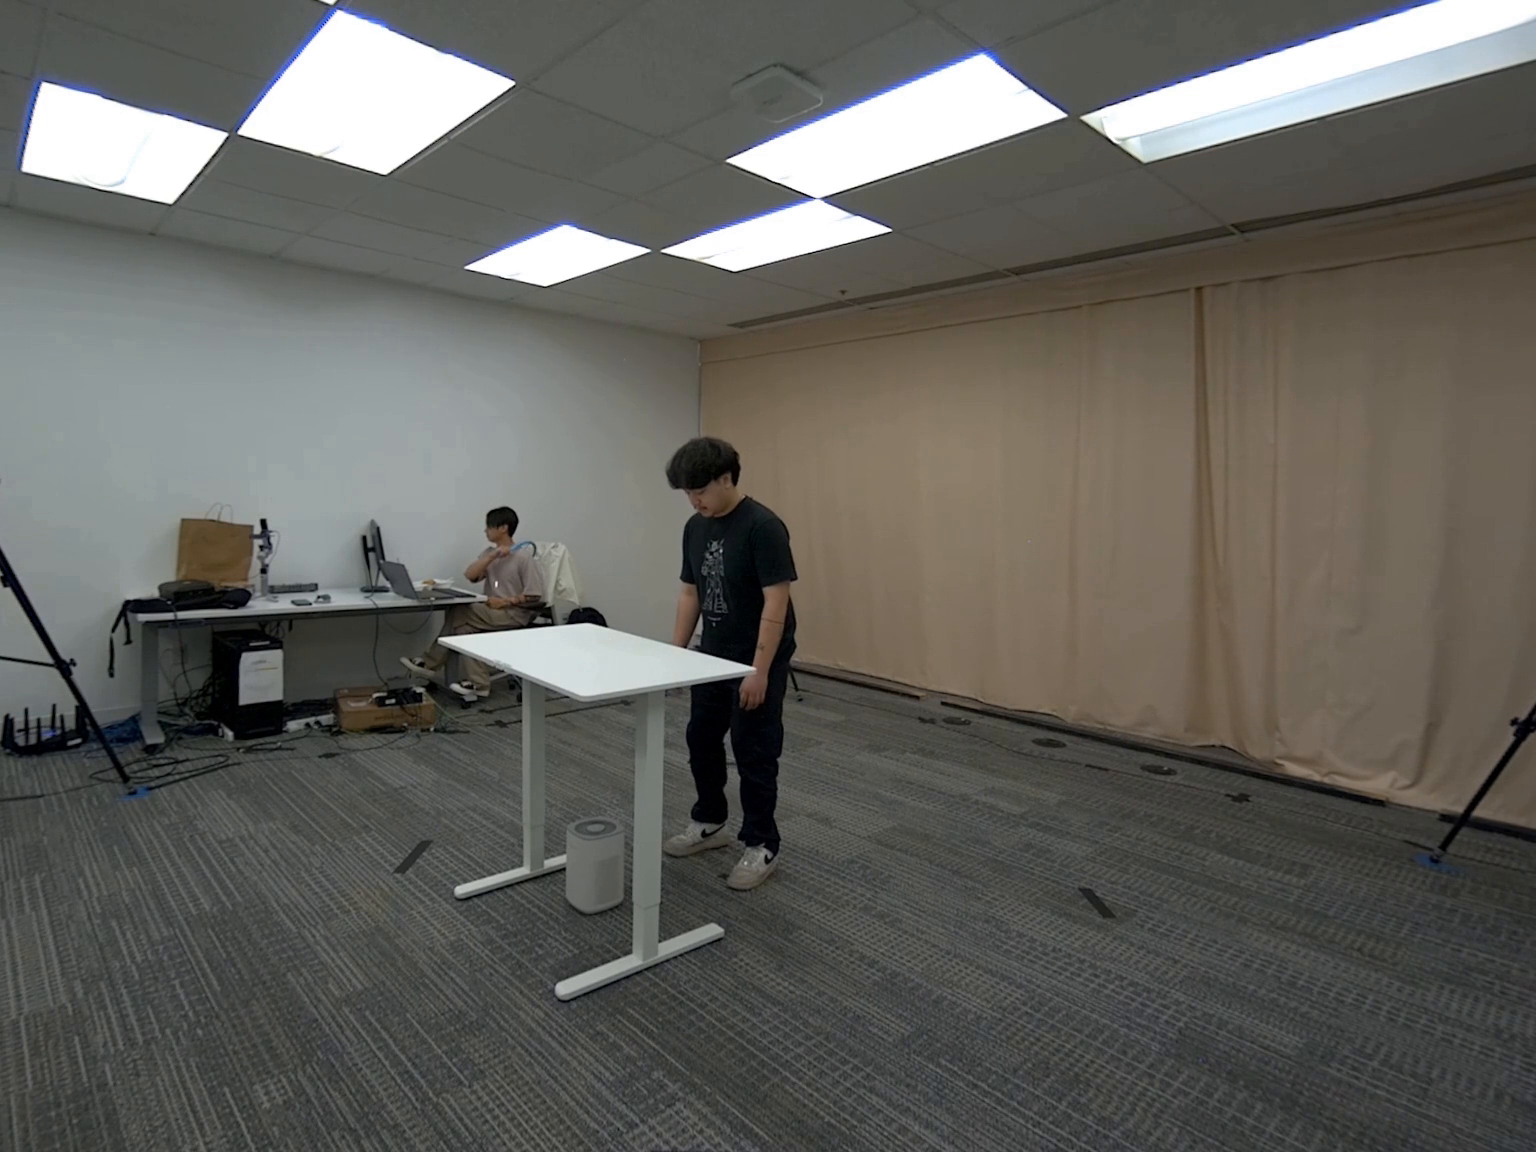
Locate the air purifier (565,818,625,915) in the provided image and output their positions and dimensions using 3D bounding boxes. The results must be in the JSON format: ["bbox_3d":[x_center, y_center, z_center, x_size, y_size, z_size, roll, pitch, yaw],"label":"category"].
[{"bbox_3d":[-0.592,0.985,2.865,0.168,0.264,0.175,-3,5,-42],"label":"air purifier"}]
